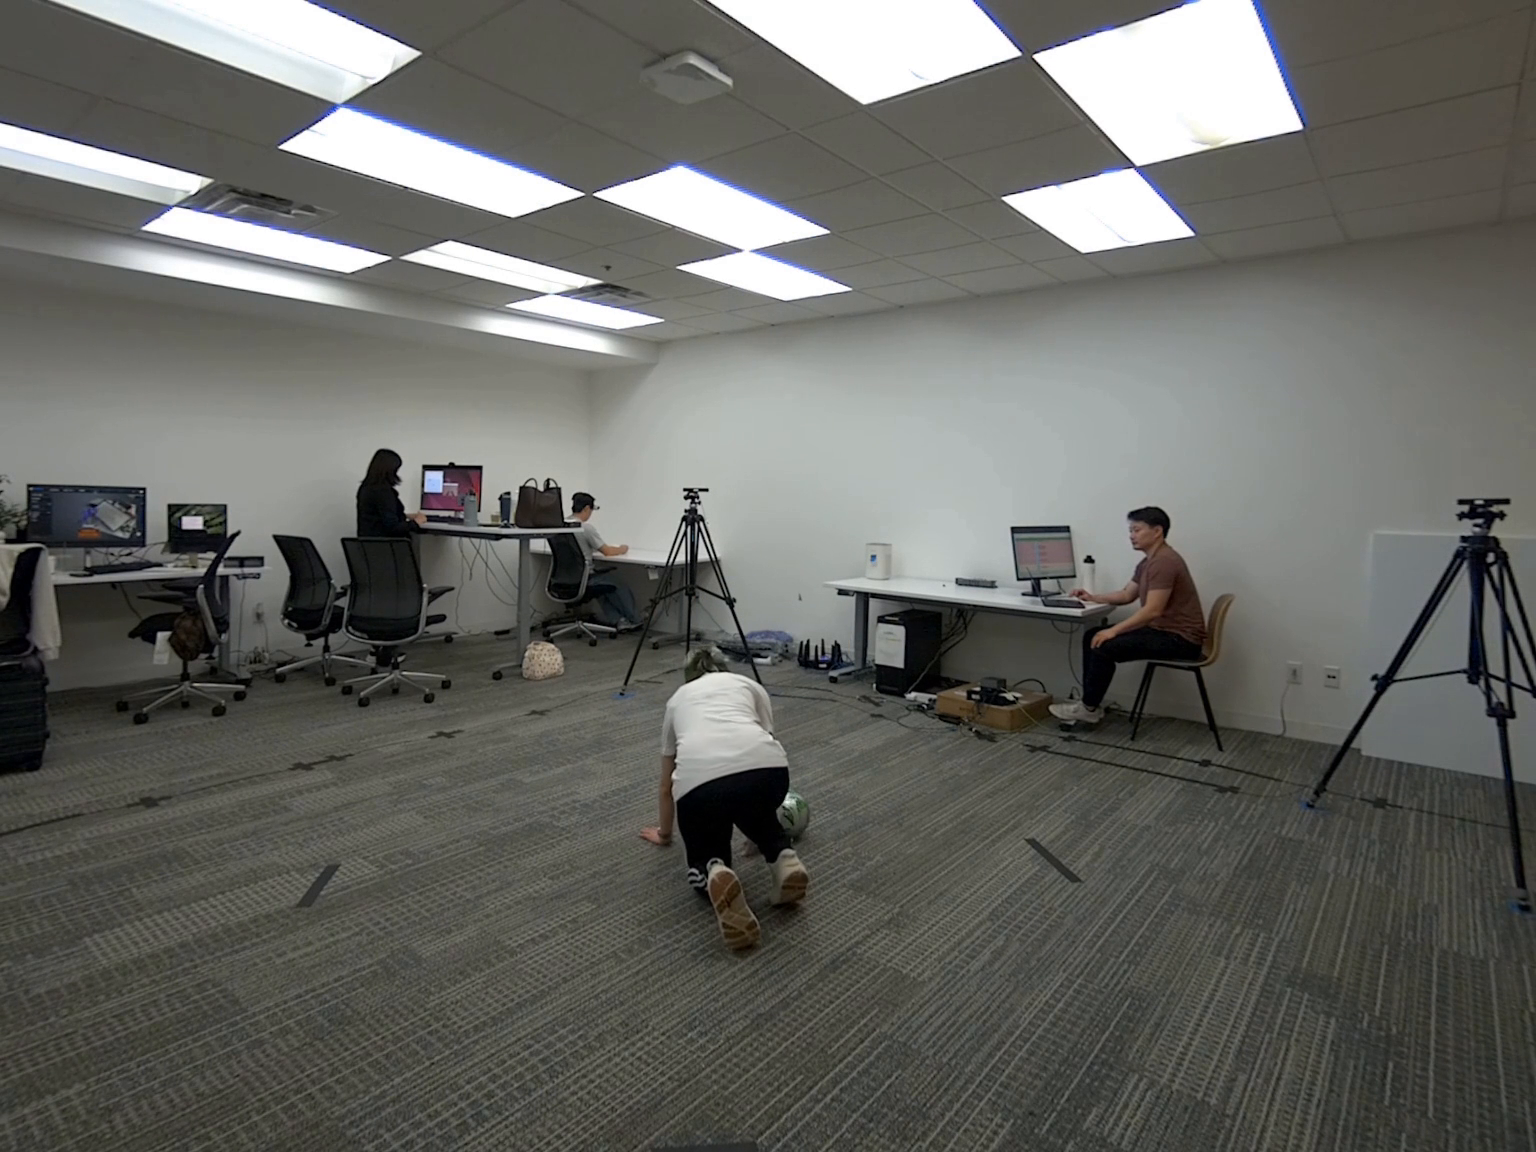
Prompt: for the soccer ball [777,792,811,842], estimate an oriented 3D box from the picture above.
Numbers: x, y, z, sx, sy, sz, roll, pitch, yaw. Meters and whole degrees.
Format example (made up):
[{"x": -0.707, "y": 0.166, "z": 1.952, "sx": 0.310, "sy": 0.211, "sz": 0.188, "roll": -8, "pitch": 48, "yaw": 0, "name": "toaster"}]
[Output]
[{"x": 0.074, "y": 0.951, "z": 3.418, "sx": 0.187, "sy": 0.187, "sz": 0.188, "roll": 1, "pitch": 4, "yaw": -2, "name": "soccer ball"}]
